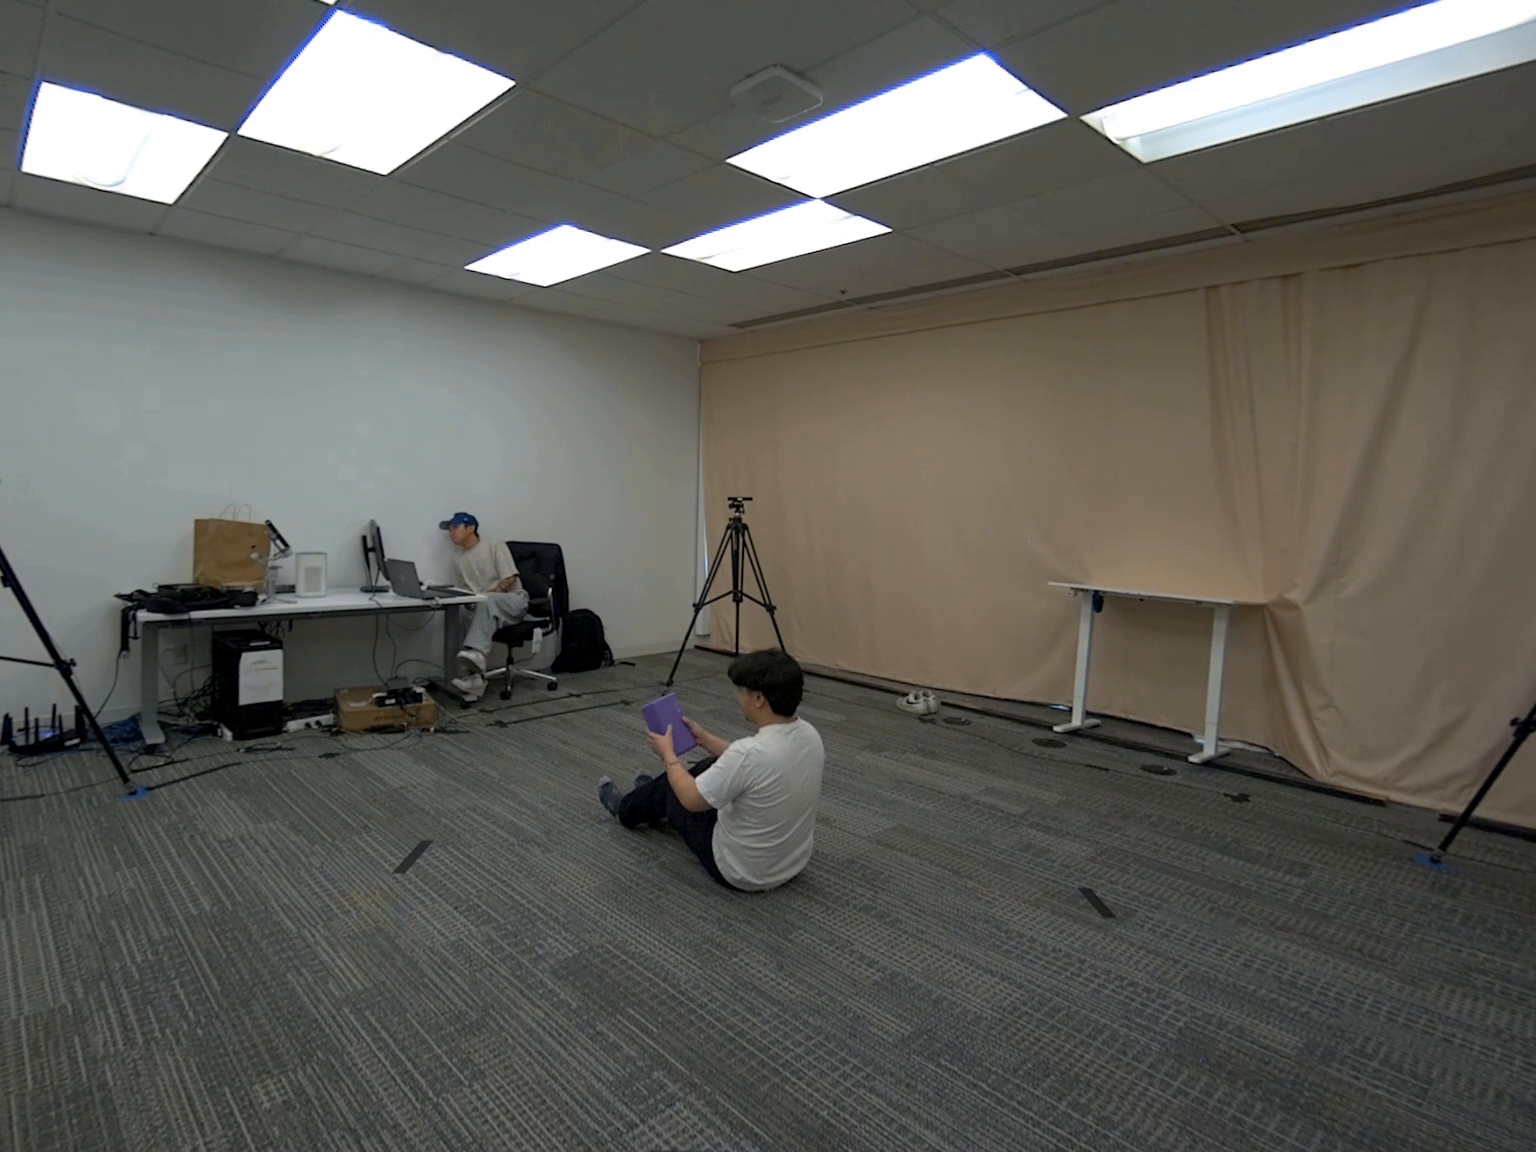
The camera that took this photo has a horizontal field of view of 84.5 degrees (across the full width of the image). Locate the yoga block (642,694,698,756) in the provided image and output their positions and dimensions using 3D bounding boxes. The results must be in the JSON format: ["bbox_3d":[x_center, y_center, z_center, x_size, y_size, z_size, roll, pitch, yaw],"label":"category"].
[{"bbox_3d":[-0.386,0.595,3.270,0.077,0.231,0.146,-28,-8,33],"label":"yoga block"}]
